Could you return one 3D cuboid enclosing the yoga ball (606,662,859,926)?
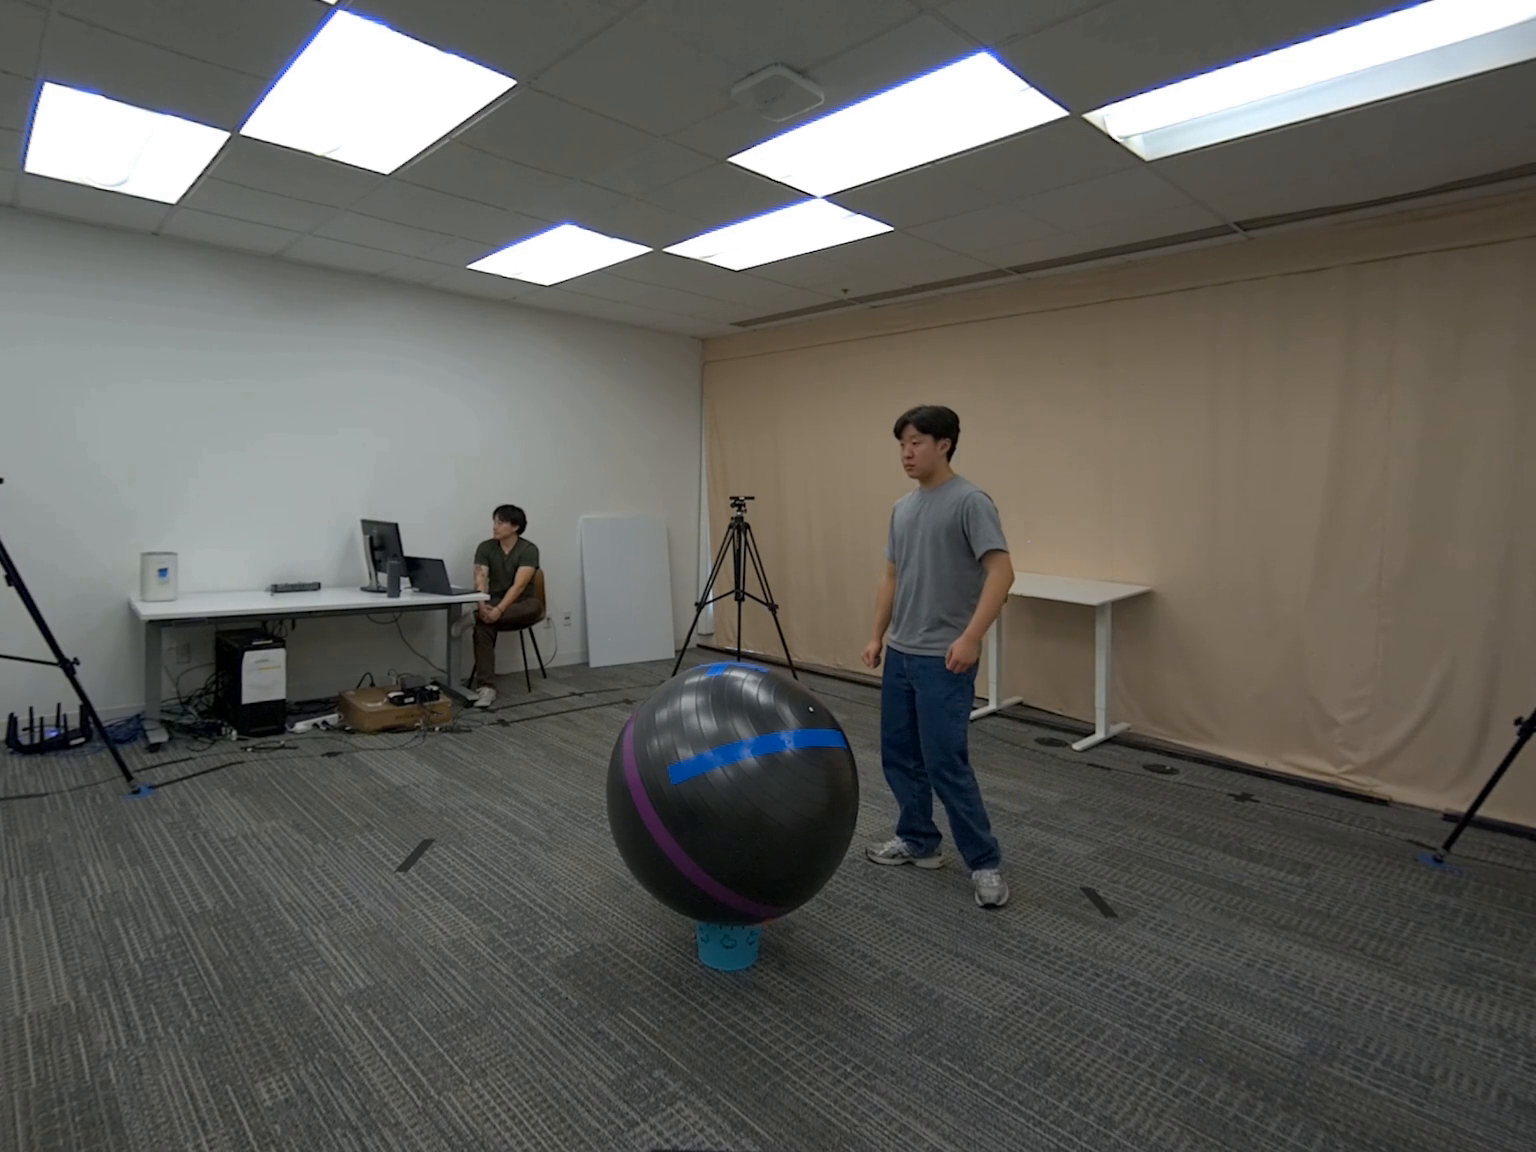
[{"bbox_3d":[-0.113,0.649,2.542,0.757,0.756,0.761,1,4,-1],"label":"yoga ball"}]
